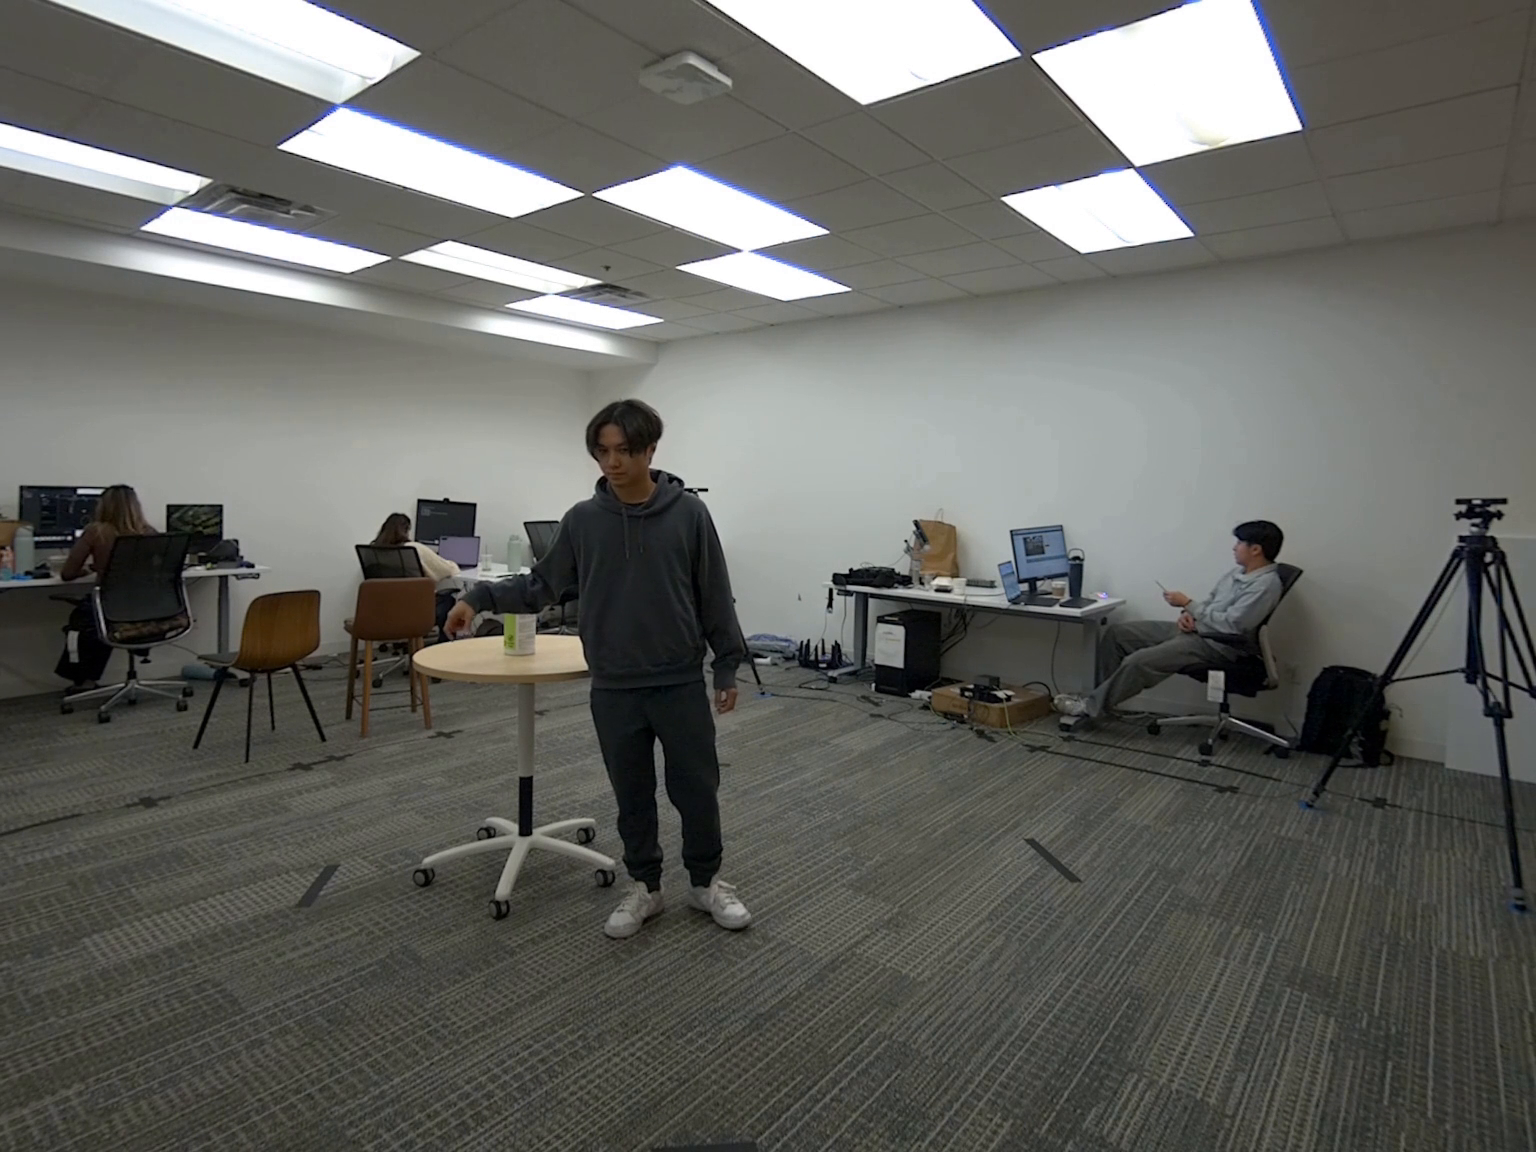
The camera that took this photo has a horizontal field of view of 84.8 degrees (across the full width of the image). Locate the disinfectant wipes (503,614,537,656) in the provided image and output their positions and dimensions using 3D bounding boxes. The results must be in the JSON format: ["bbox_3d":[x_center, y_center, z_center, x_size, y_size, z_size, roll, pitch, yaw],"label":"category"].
[{"bbox_3d":[-0.886,0.165,3.007,0.118,0.217,0.118,2,2,-2],"label":"disinfectant wipes"}]
